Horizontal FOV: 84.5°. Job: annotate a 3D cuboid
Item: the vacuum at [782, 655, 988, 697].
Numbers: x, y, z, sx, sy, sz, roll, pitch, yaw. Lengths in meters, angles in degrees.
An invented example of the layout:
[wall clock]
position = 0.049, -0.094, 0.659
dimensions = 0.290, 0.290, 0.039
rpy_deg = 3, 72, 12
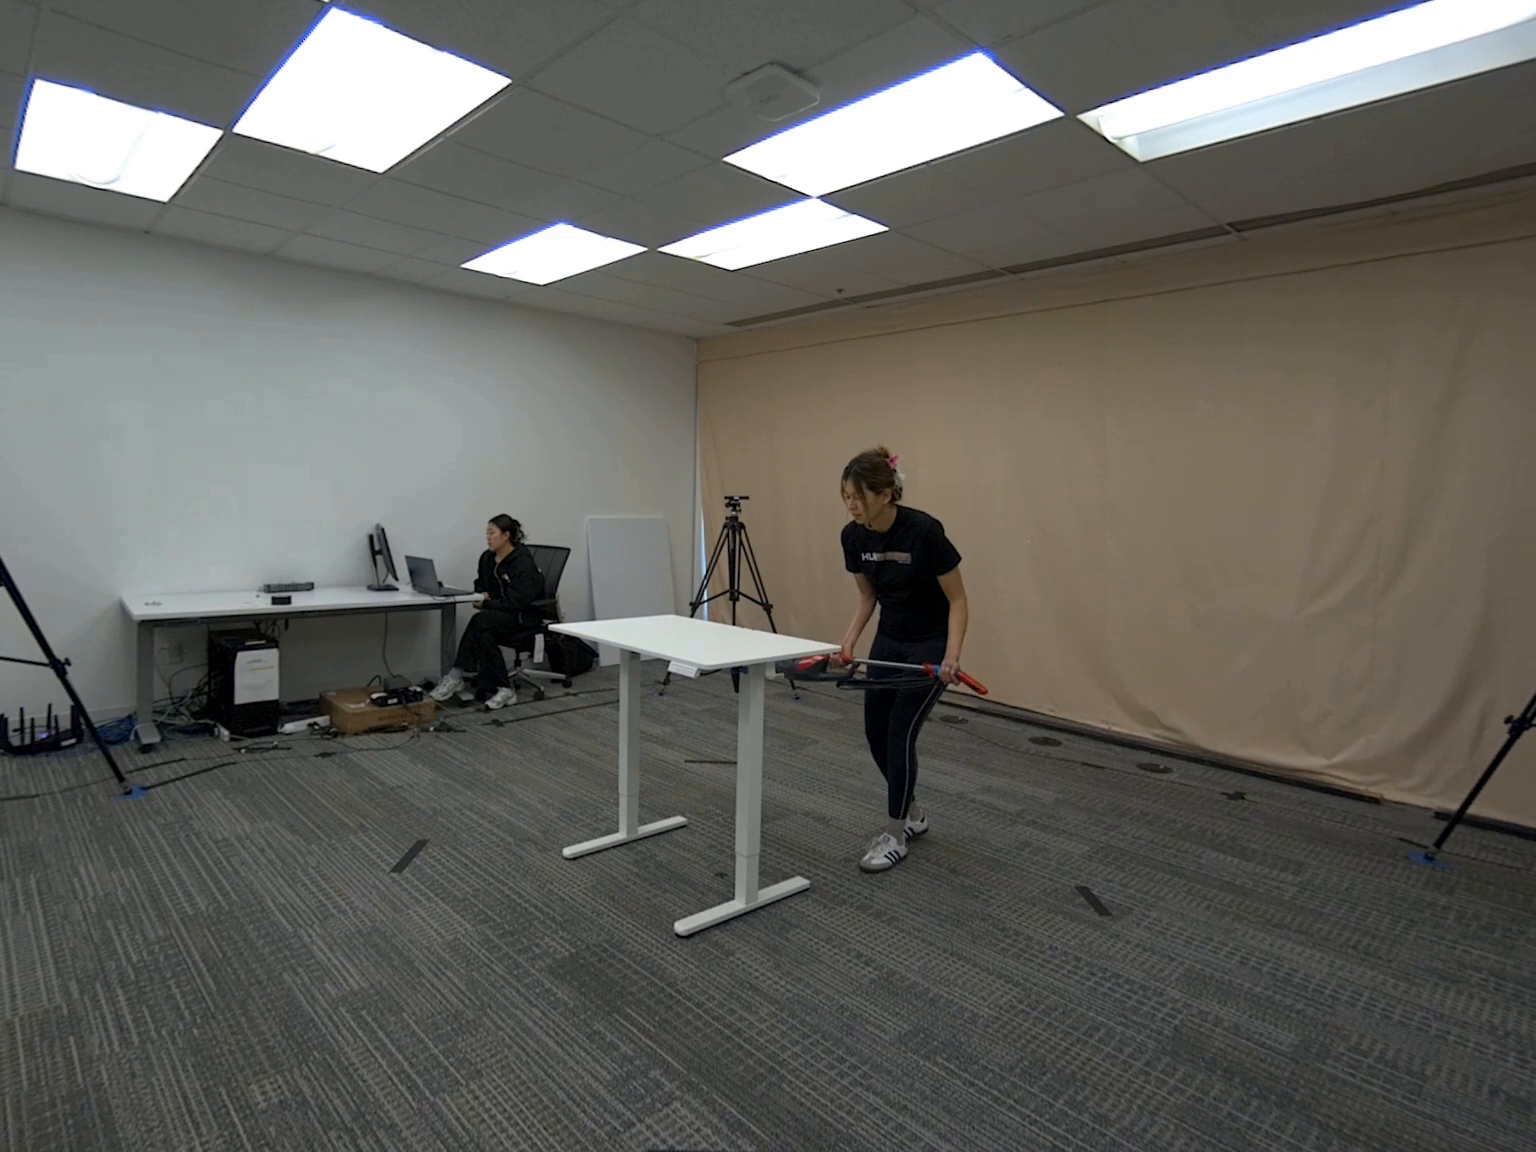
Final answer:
[vacuum]
position = 0.339, 0.375, 3.192
dimensions = 0.246, 0.144, 1.076
rpy_deg = 3, 2, -45
